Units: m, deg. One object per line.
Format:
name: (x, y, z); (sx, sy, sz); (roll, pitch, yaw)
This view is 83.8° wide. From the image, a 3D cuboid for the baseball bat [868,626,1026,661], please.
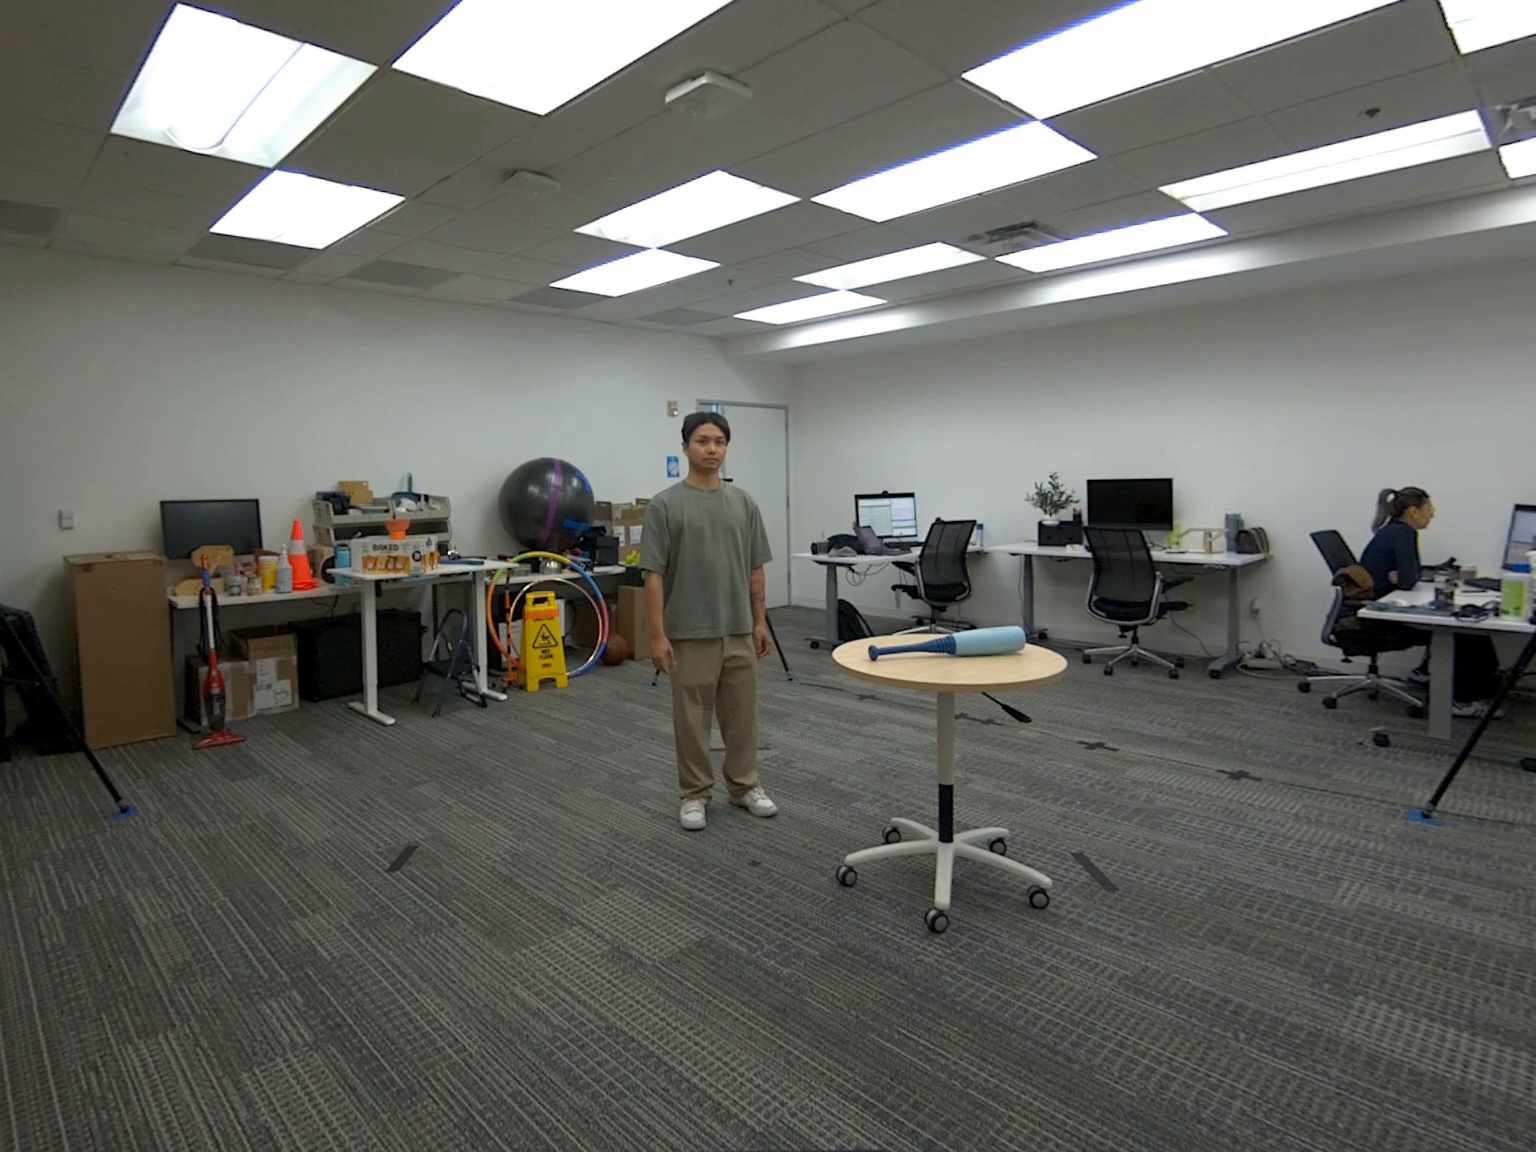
baseball bat: (0.608, 0.237, 2.882); (0.538, 0.088, 0.090); (-5, 6, -10)
